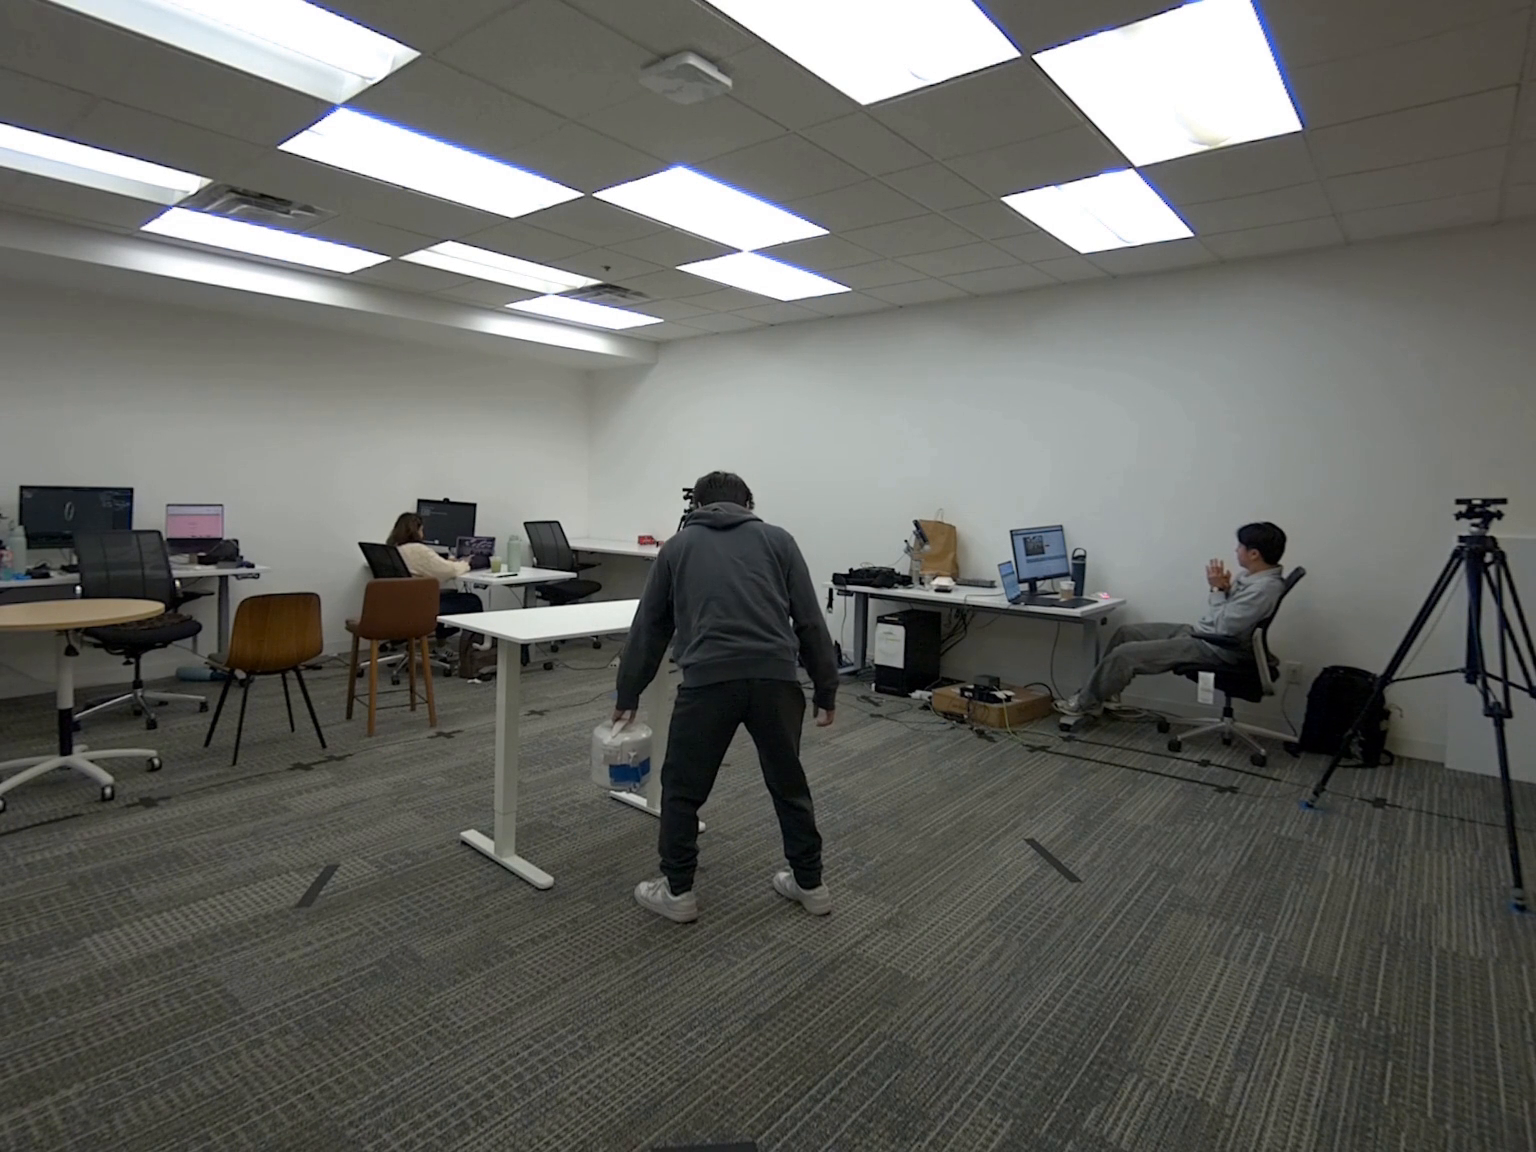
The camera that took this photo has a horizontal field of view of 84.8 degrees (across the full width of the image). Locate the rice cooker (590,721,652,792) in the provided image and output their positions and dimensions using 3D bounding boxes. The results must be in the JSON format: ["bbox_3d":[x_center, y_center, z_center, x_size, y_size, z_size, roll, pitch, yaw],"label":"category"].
[{"bbox_3d":[-0.521,0.608,2.963,0.221,0.231,0.218,7,7,15],"label":"rice cooker"}]
